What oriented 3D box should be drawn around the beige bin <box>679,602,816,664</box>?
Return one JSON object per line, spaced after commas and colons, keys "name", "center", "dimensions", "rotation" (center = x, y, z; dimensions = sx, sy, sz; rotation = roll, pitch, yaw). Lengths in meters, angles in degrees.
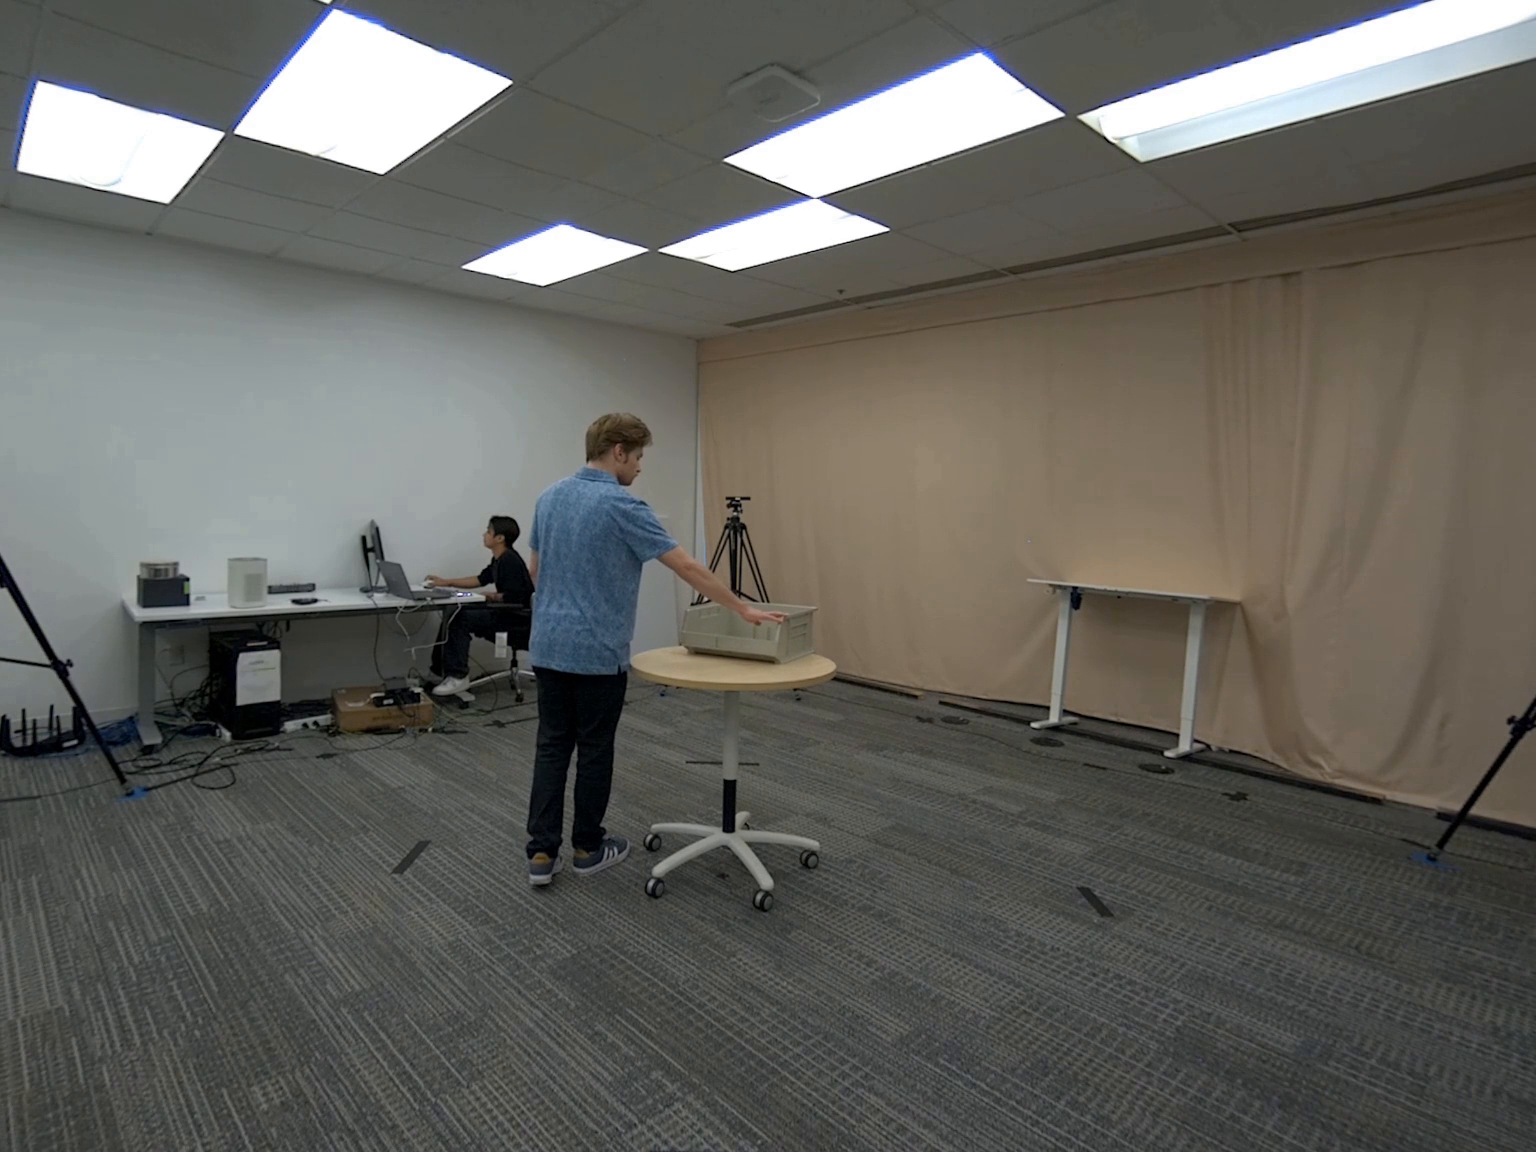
{"name": "beige bin", "center": [-0.076, 0.216, 3.320], "dimensions": [0.431, 0.189, 0.370], "rotation": [3, 3, 27]}
